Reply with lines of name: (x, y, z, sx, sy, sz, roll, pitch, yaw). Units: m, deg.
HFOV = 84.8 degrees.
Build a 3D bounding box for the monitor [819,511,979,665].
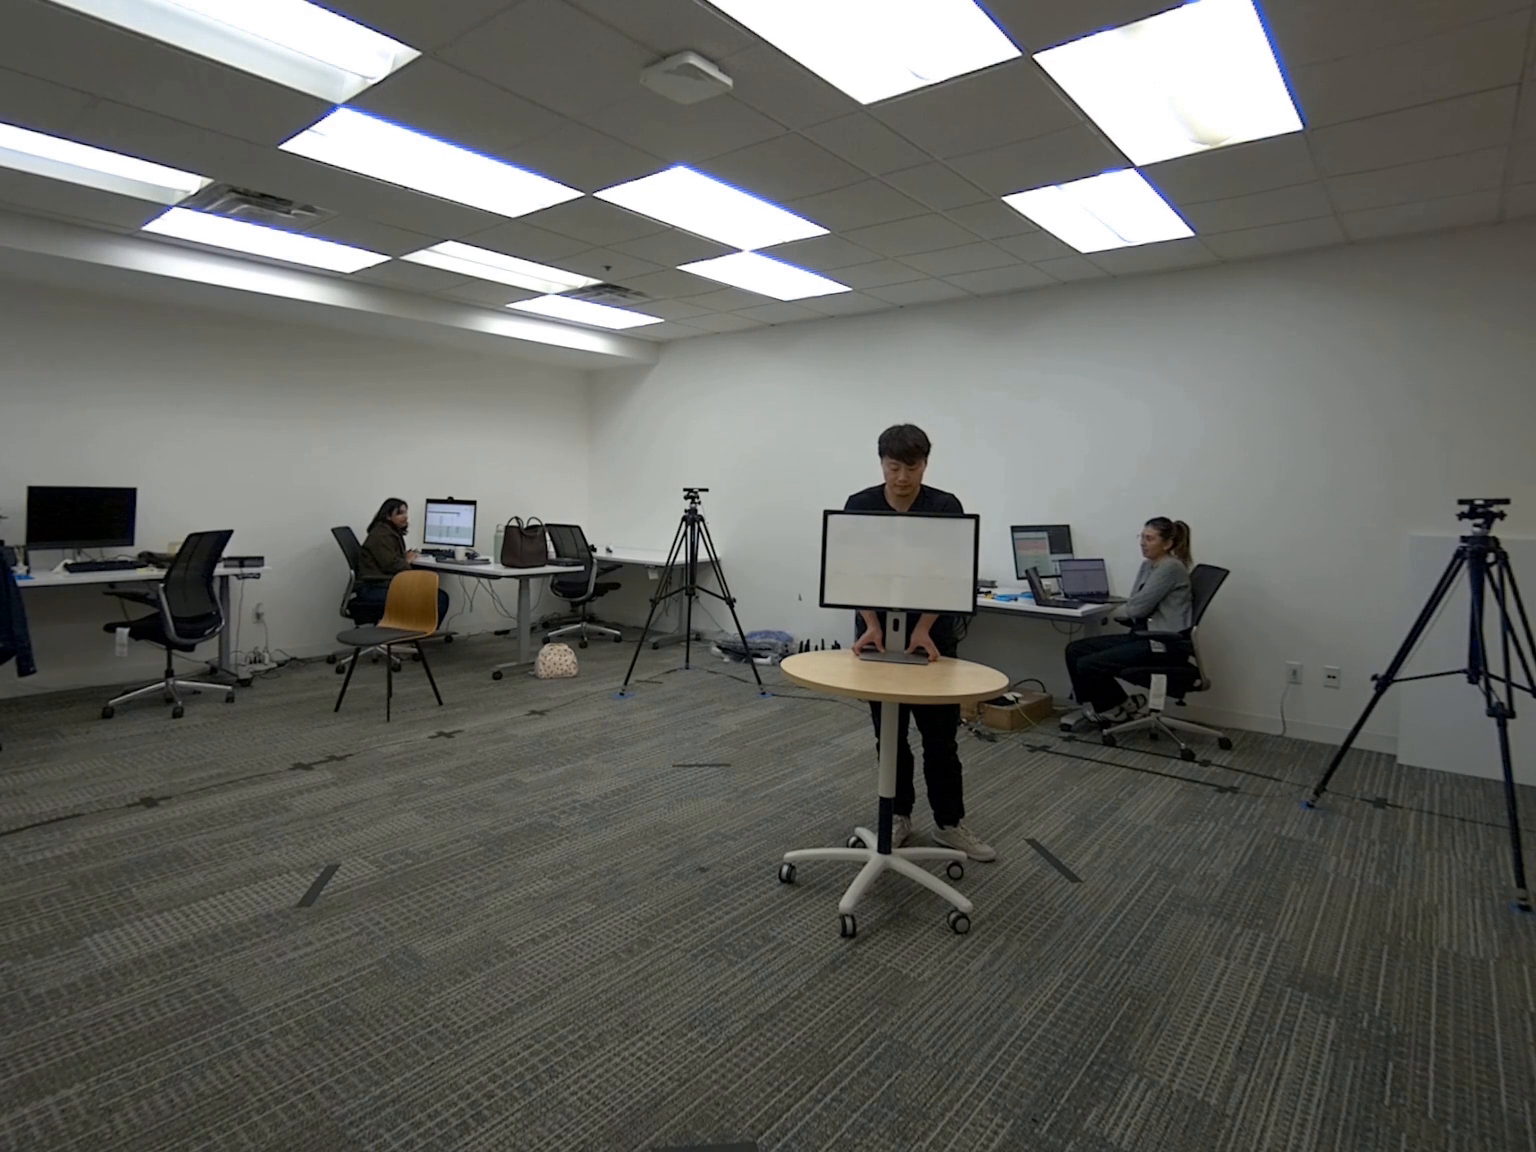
monitor: (0.465, 0.028, 3.131, 0.547, 0.519, 0.186, 3, 7, 13)
